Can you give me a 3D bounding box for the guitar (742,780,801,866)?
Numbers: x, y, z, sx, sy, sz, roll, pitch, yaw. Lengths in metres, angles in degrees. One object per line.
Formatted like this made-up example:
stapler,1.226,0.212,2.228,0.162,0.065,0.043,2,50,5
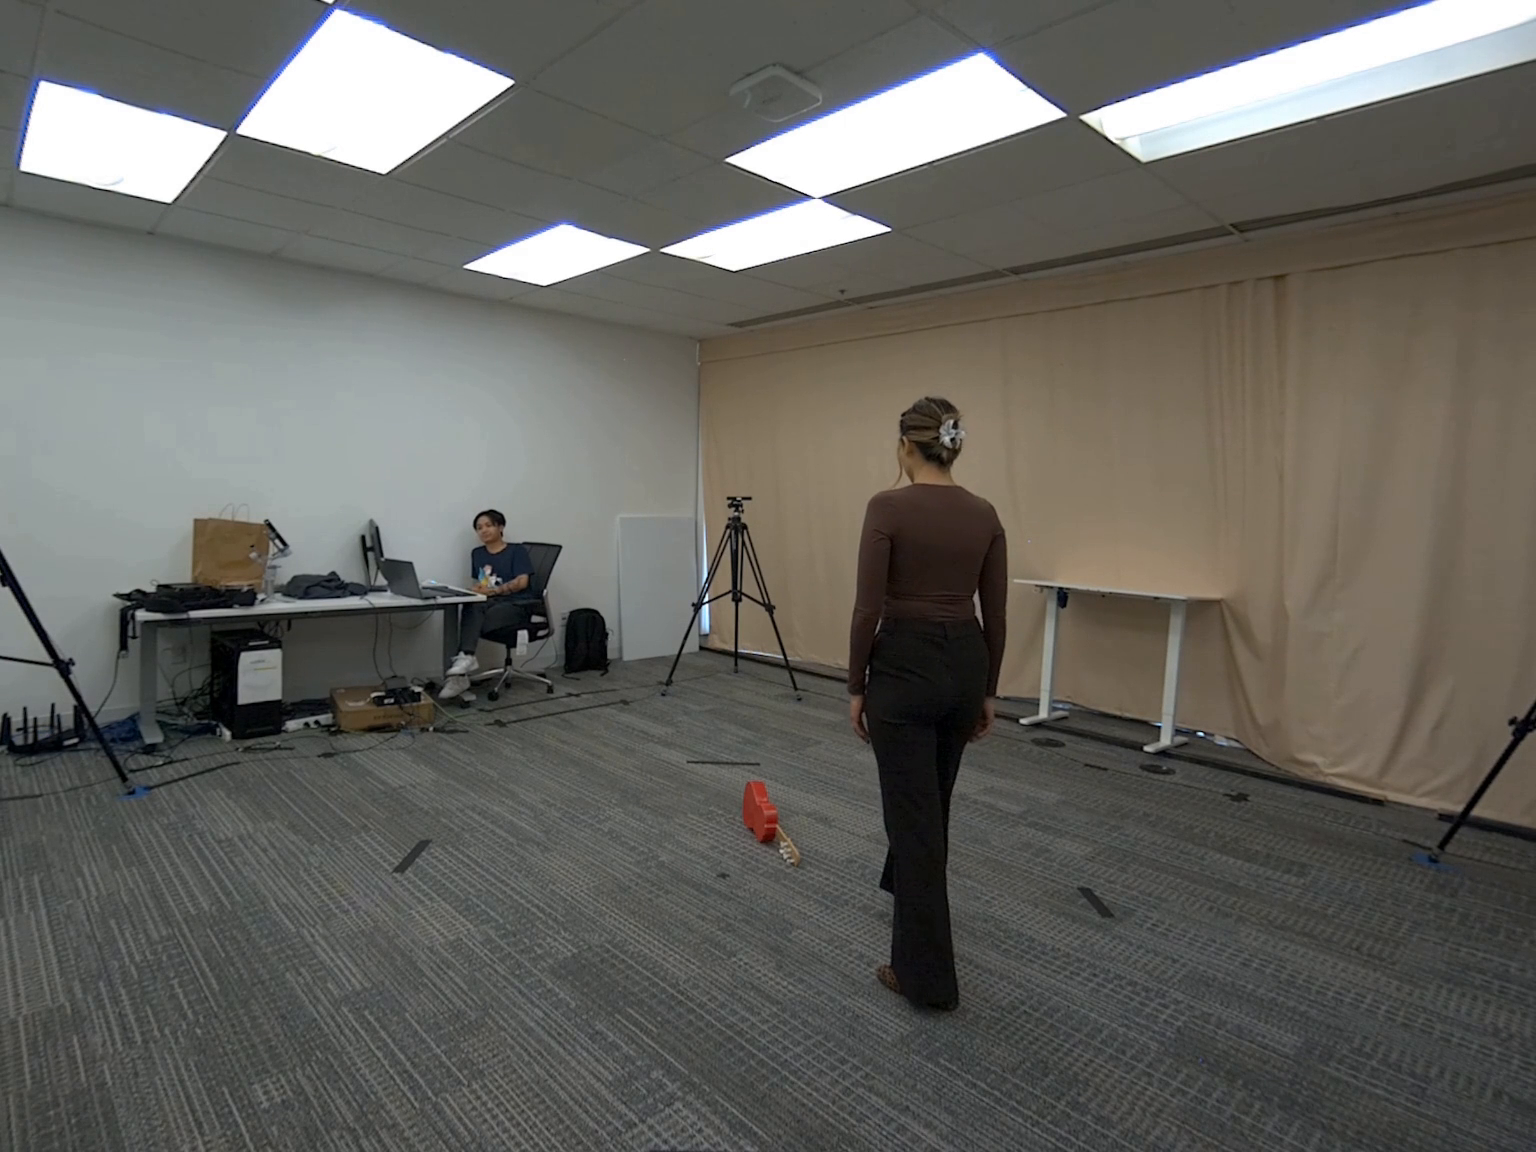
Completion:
guitar,0.005,0.987,3.405,0.069,0.192,0.507,4,4,-21
